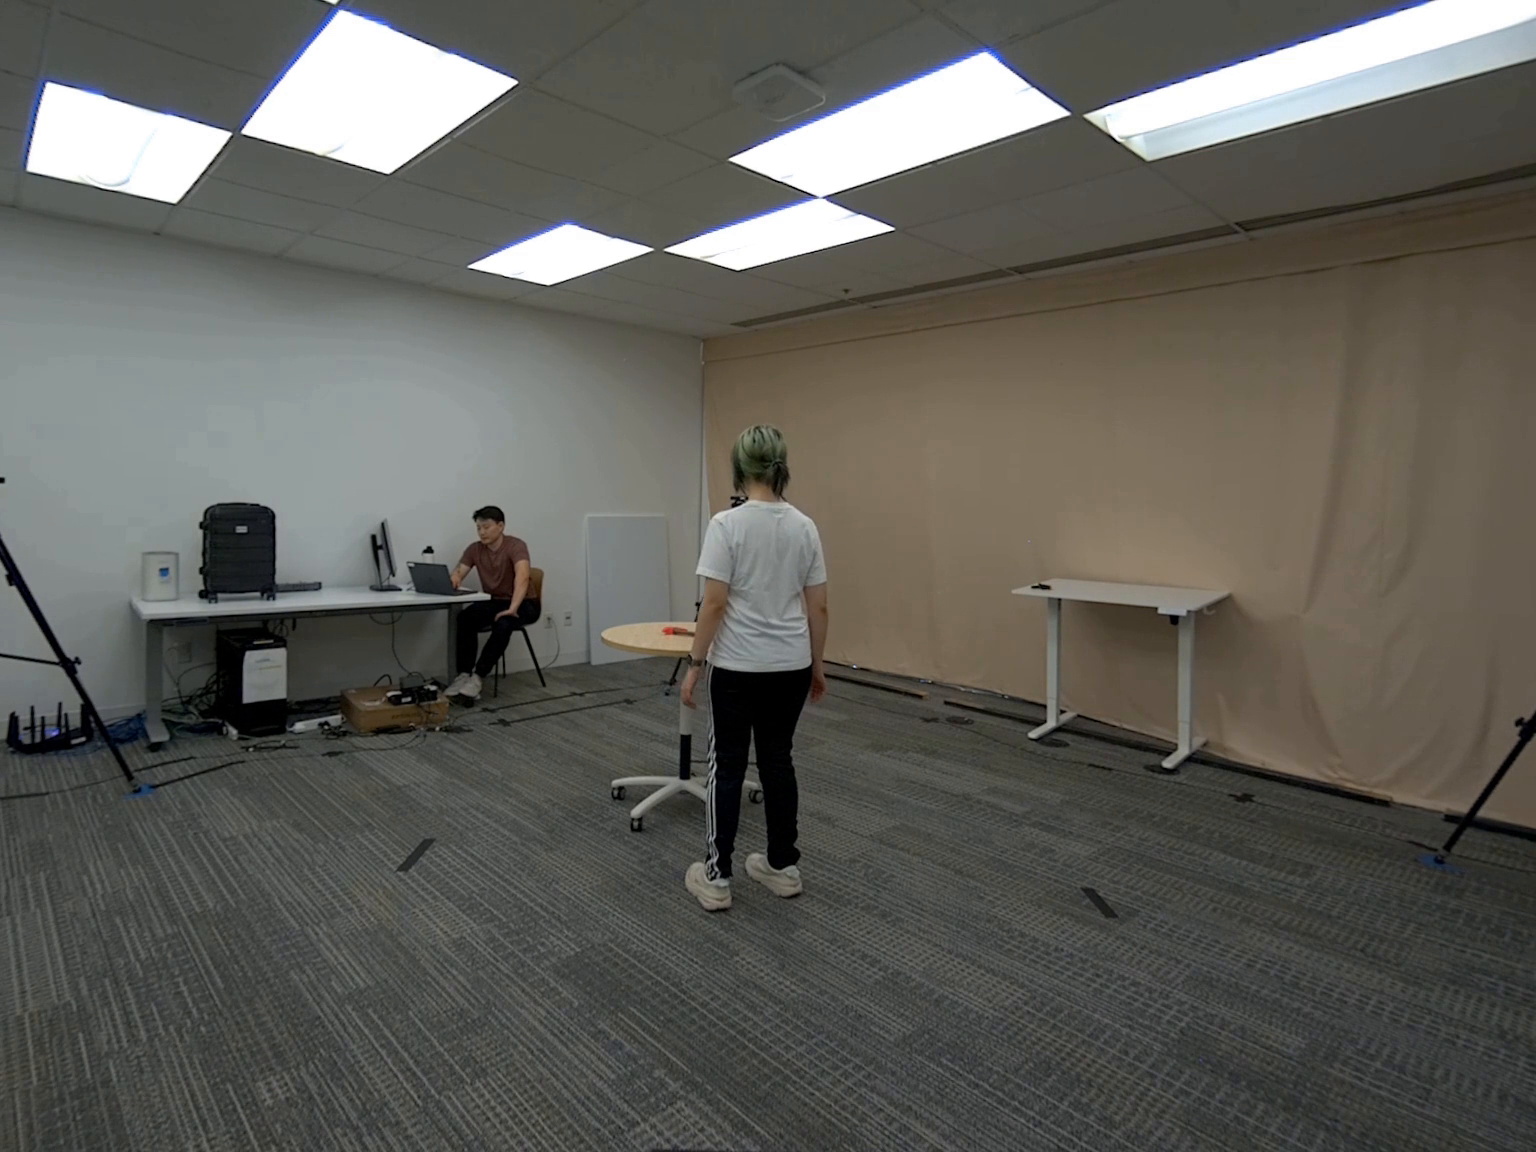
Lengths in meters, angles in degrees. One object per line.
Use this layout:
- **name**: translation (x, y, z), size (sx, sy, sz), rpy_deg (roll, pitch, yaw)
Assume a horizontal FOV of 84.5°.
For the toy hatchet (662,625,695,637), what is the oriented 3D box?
- **toy hatchet**: translation (-0.338, 0.250, 3.710), size (0.273, 0.029, 0.129), rpy_deg (5, 1, 13)
